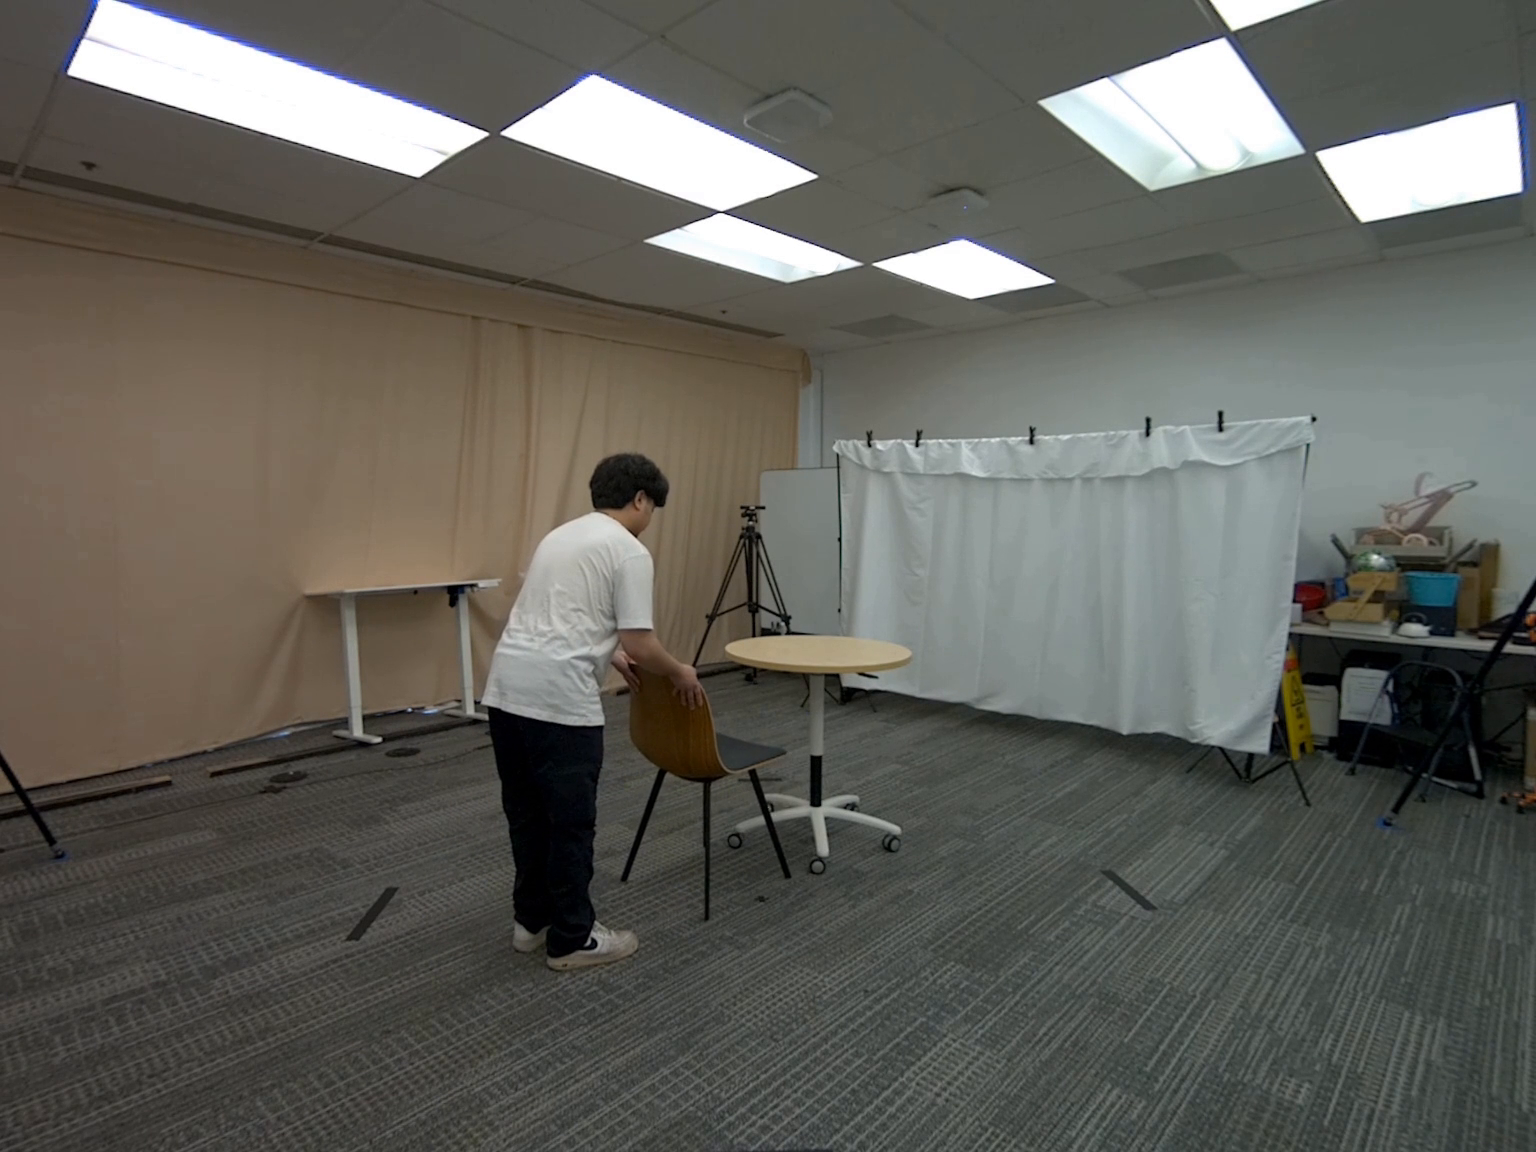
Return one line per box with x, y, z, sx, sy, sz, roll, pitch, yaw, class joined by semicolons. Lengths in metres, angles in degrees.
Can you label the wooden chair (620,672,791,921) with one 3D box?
-0.226;0.705;3.113;0.494;0.874;0.508;2;8;42;wooden chair
